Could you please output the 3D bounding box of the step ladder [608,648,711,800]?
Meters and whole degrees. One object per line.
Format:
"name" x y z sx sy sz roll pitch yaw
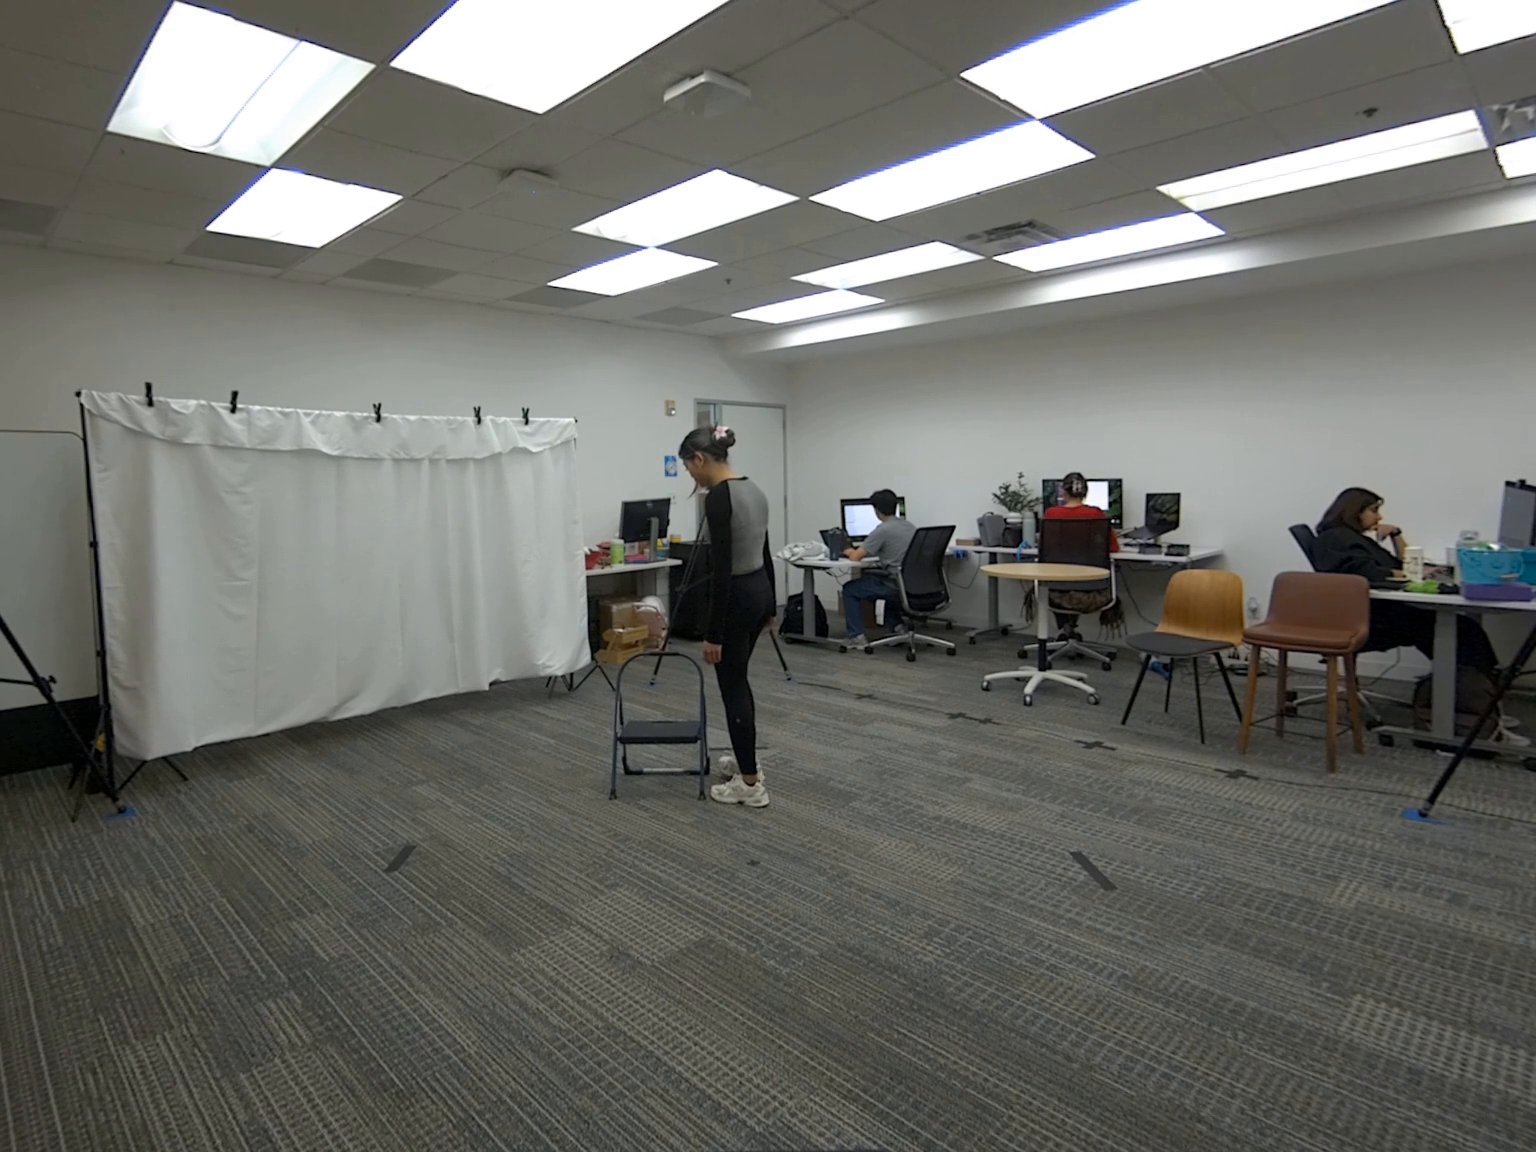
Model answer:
"step ladder" -0.493 0.661 3.906 0.432 0.603 0.349 -1 5 3
